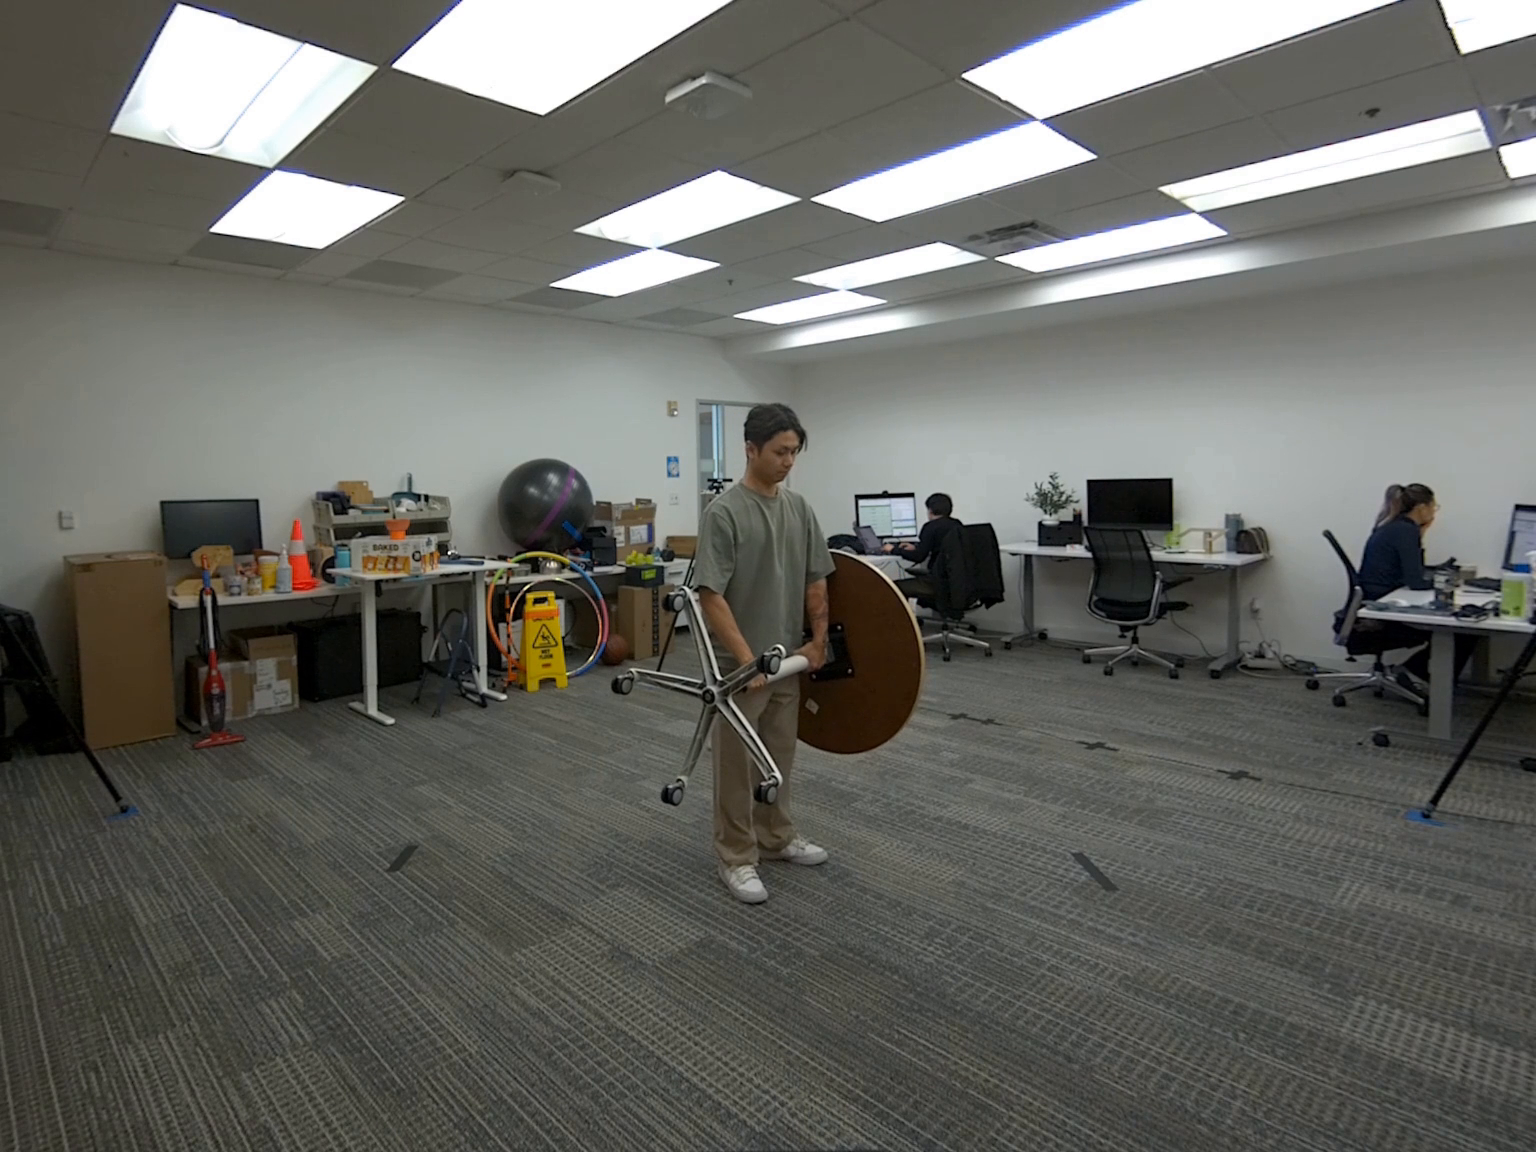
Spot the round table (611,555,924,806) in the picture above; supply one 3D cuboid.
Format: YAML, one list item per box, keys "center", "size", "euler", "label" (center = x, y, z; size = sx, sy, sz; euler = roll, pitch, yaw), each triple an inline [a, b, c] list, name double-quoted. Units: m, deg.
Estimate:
- center: [0.008, 0.341, 2.889]
  size: [0.808, 0.780, 0.769]
  euler: [3, 9, 37]
  label: "round table"
